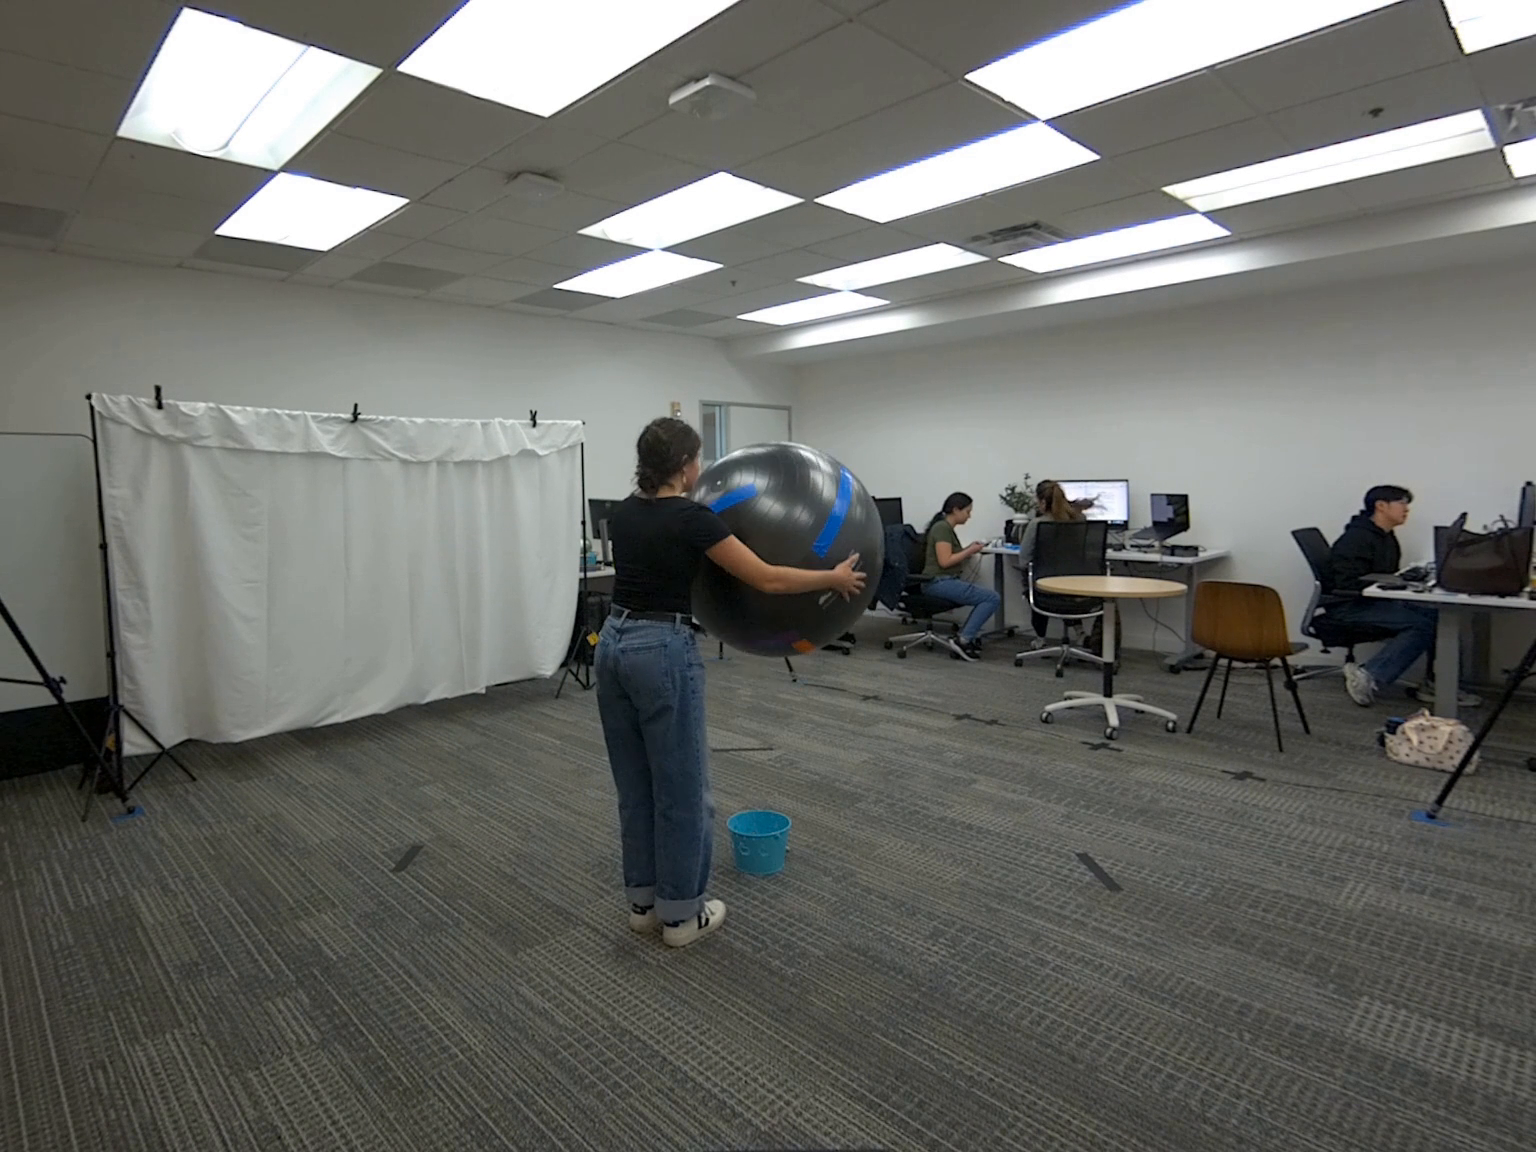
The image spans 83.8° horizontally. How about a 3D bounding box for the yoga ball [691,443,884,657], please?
[{"bbox_3d":[0.026,-0.088,3.031,0.757,0.755,0.762,-1,5,-2],"label":"yoga ball"}]
